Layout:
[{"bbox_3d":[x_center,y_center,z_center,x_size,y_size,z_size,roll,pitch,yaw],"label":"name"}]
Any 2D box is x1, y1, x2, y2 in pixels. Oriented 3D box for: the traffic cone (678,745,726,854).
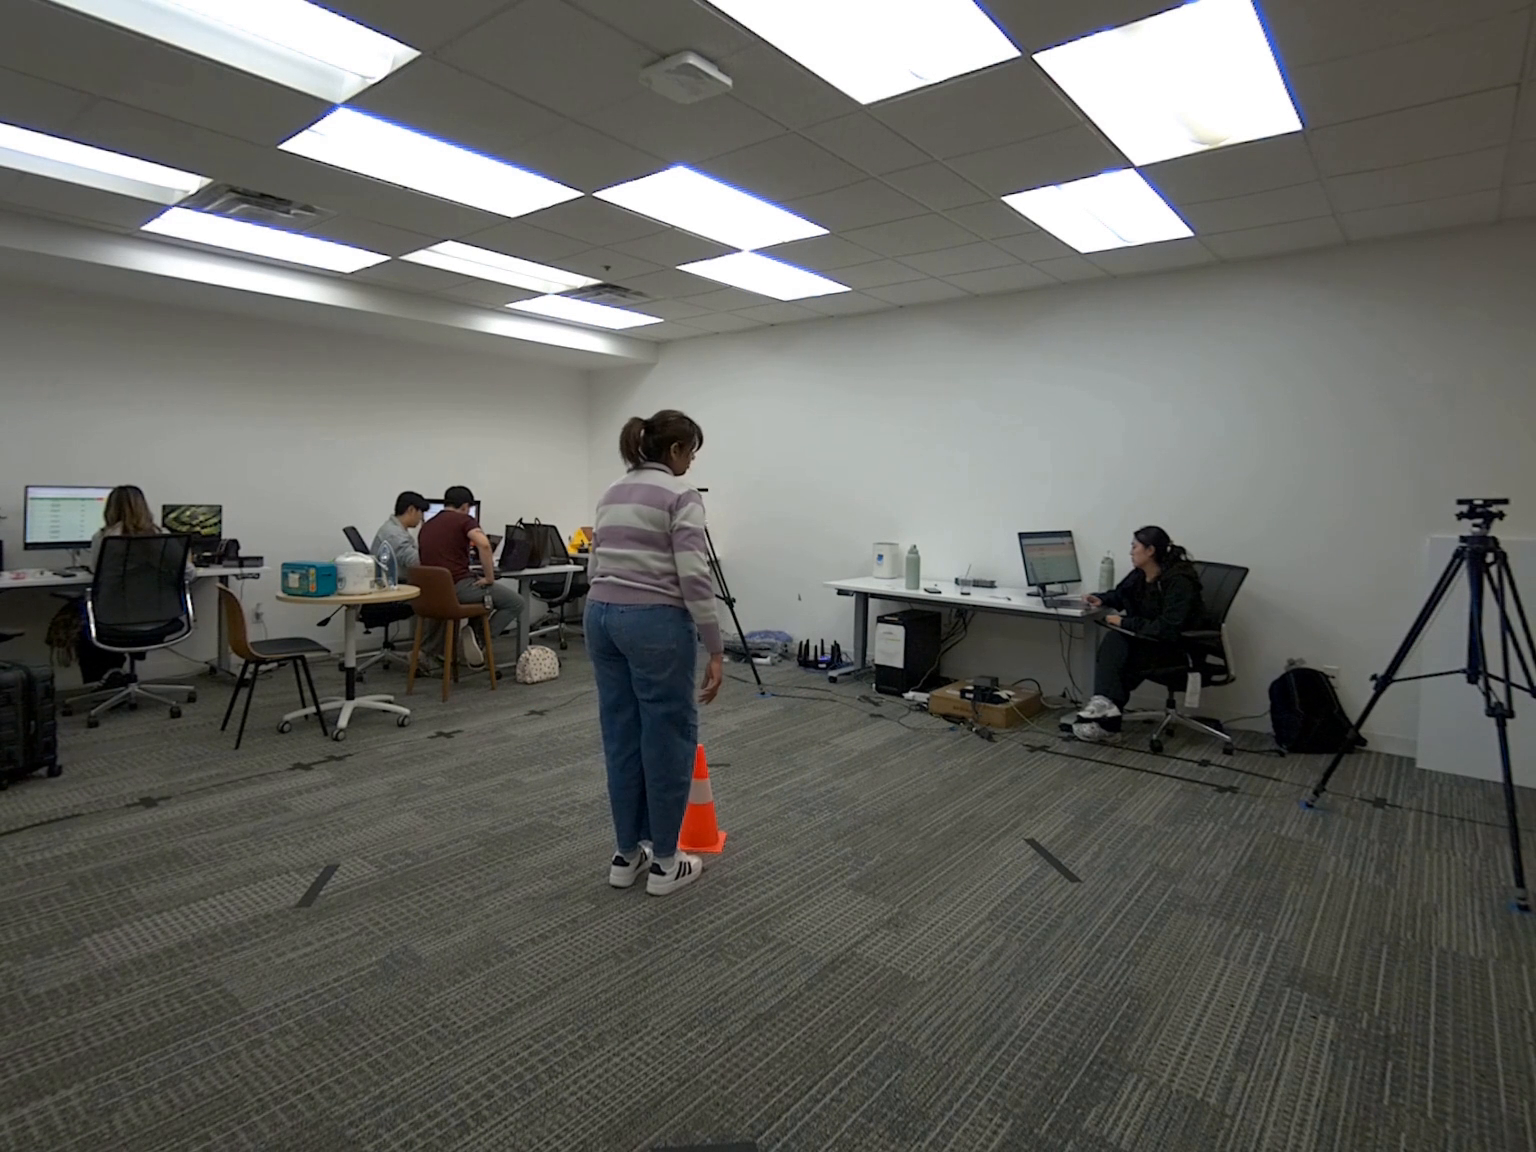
[{"bbox_3d":[-0.283,0.859,3.355,0.207,0.383,0.202,0,3,6],"label":"traffic cone"}]
